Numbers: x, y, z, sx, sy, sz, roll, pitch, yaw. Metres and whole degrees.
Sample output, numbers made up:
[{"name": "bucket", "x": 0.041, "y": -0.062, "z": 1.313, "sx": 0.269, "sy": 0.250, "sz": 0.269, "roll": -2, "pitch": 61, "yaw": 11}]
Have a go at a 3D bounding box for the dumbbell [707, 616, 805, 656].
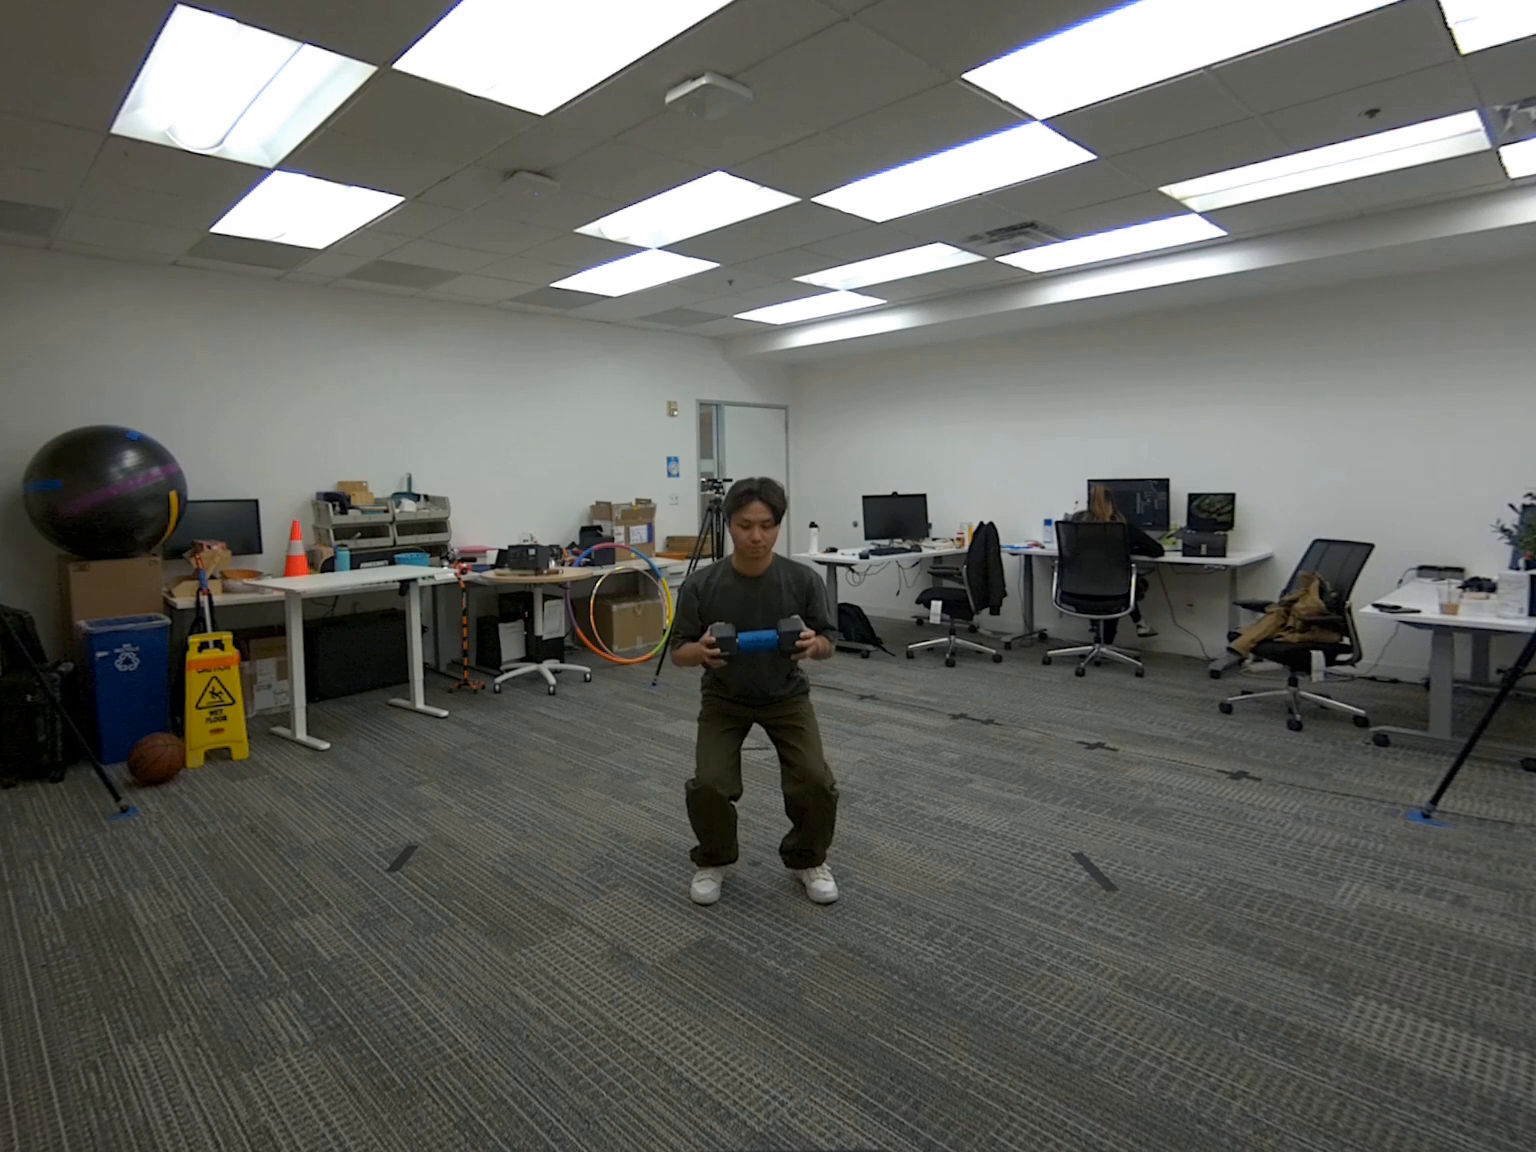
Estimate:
[{"name": "dumbbell", "x": -0.031, "y": 0.202, "z": 2.674, "sx": 0.293, "sy": 0.111, "sz": 0.120, "roll": -4, "pitch": -26, "yaw": 0}]
